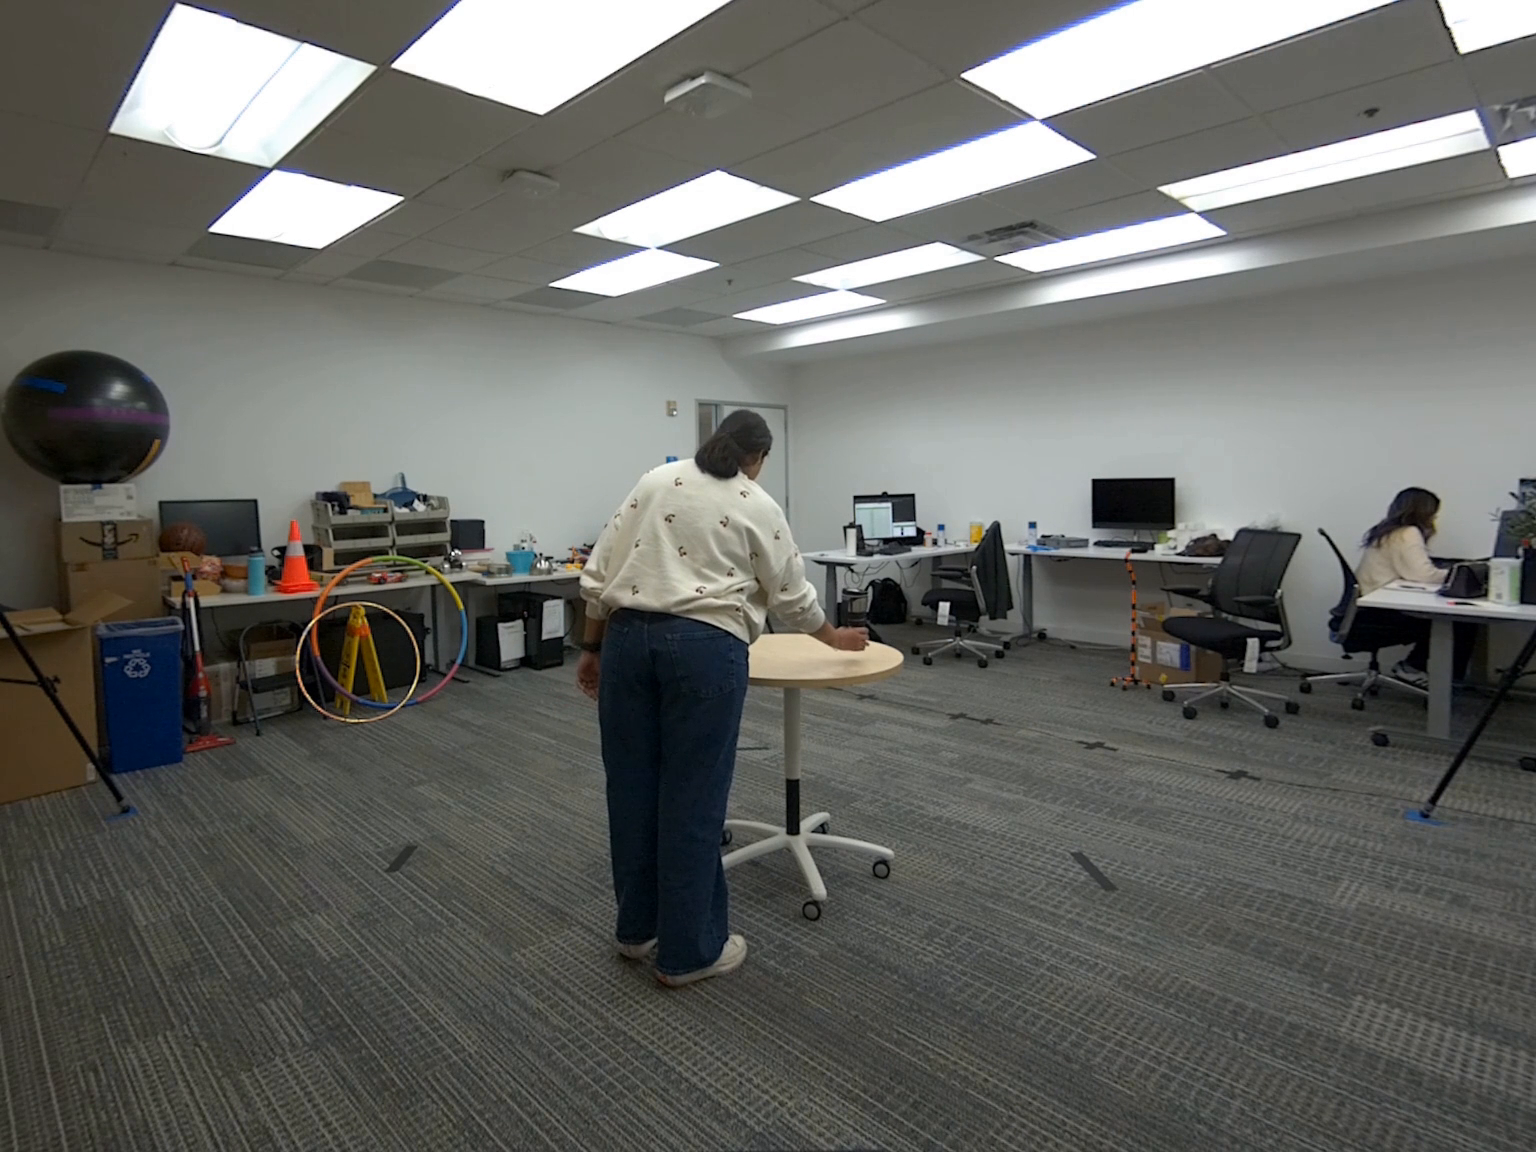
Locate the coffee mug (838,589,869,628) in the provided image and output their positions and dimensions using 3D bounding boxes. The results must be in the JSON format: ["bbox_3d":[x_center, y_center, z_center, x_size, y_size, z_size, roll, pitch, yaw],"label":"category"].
[{"bbox_3d":[0.317,0.143,2.858,0.119,0.201,0.090,-10,8,-29],"label":"coffee mug"}]
